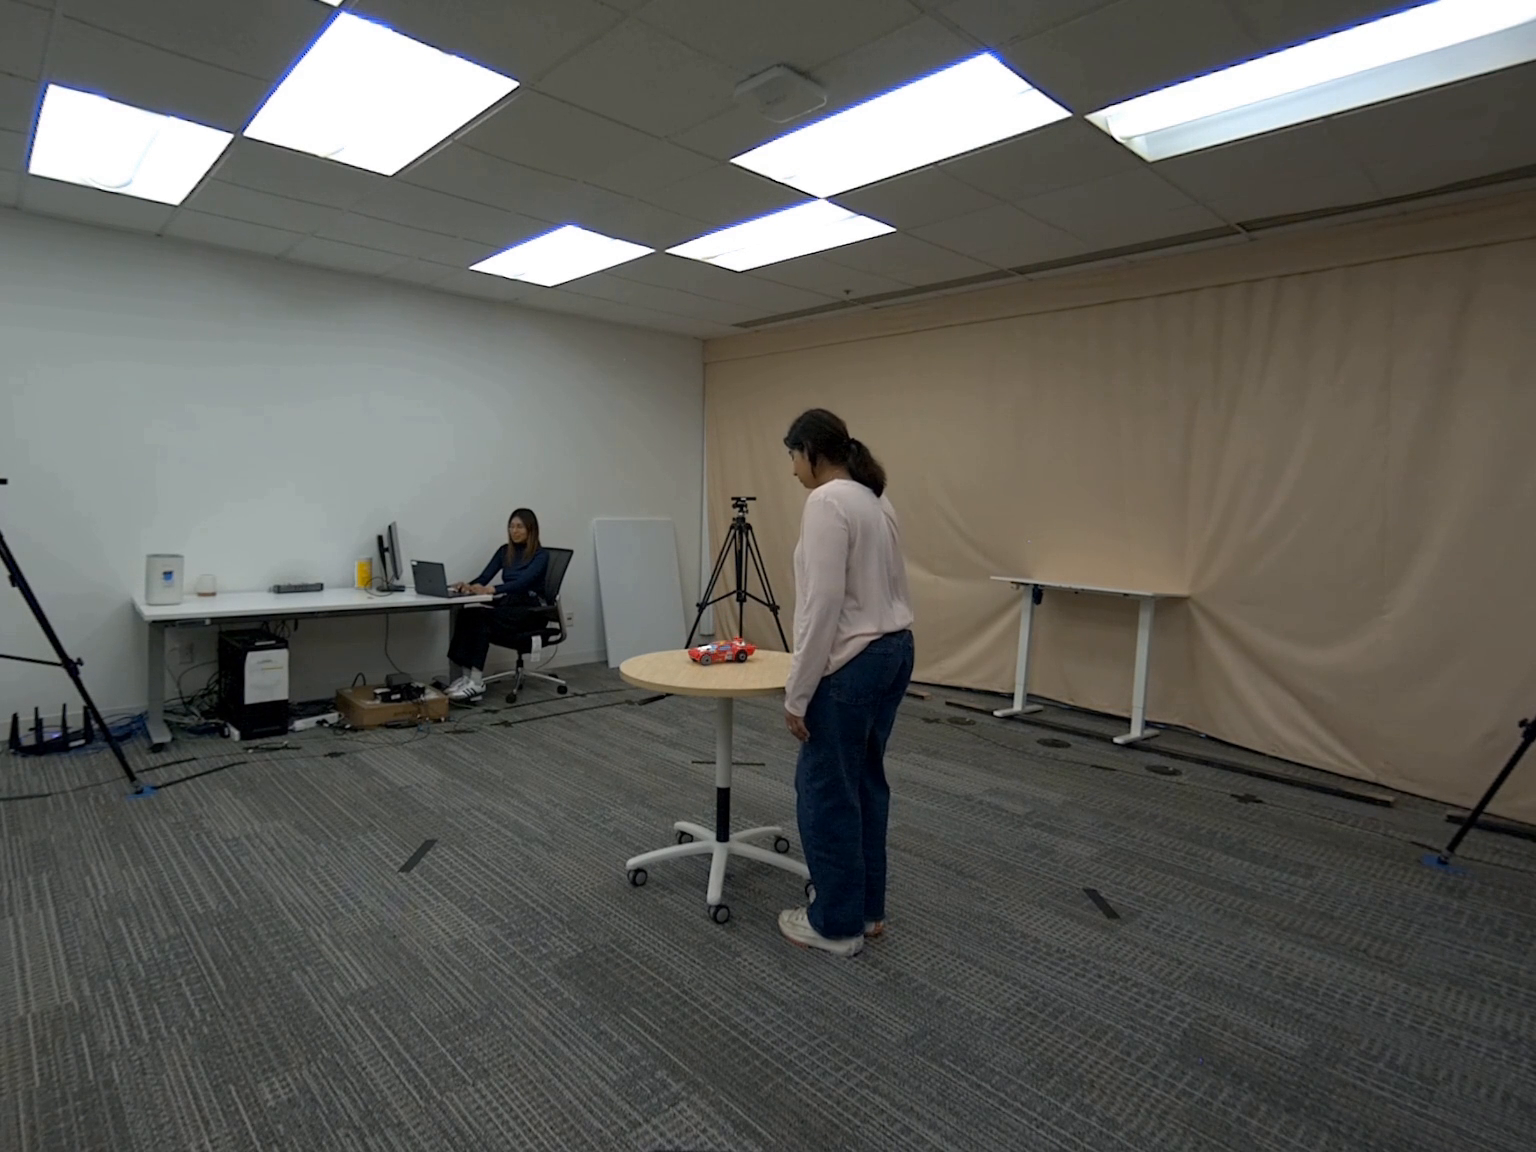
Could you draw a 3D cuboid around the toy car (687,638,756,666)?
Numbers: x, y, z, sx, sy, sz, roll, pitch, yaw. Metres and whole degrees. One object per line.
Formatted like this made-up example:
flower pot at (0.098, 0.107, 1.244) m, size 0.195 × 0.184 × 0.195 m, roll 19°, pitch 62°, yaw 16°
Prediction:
toy car at (-0.174, 0.288, 3.141) m, size 0.251 × 0.082 × 0.133 m, roll -14°, pitch 10°, yaw -24°
